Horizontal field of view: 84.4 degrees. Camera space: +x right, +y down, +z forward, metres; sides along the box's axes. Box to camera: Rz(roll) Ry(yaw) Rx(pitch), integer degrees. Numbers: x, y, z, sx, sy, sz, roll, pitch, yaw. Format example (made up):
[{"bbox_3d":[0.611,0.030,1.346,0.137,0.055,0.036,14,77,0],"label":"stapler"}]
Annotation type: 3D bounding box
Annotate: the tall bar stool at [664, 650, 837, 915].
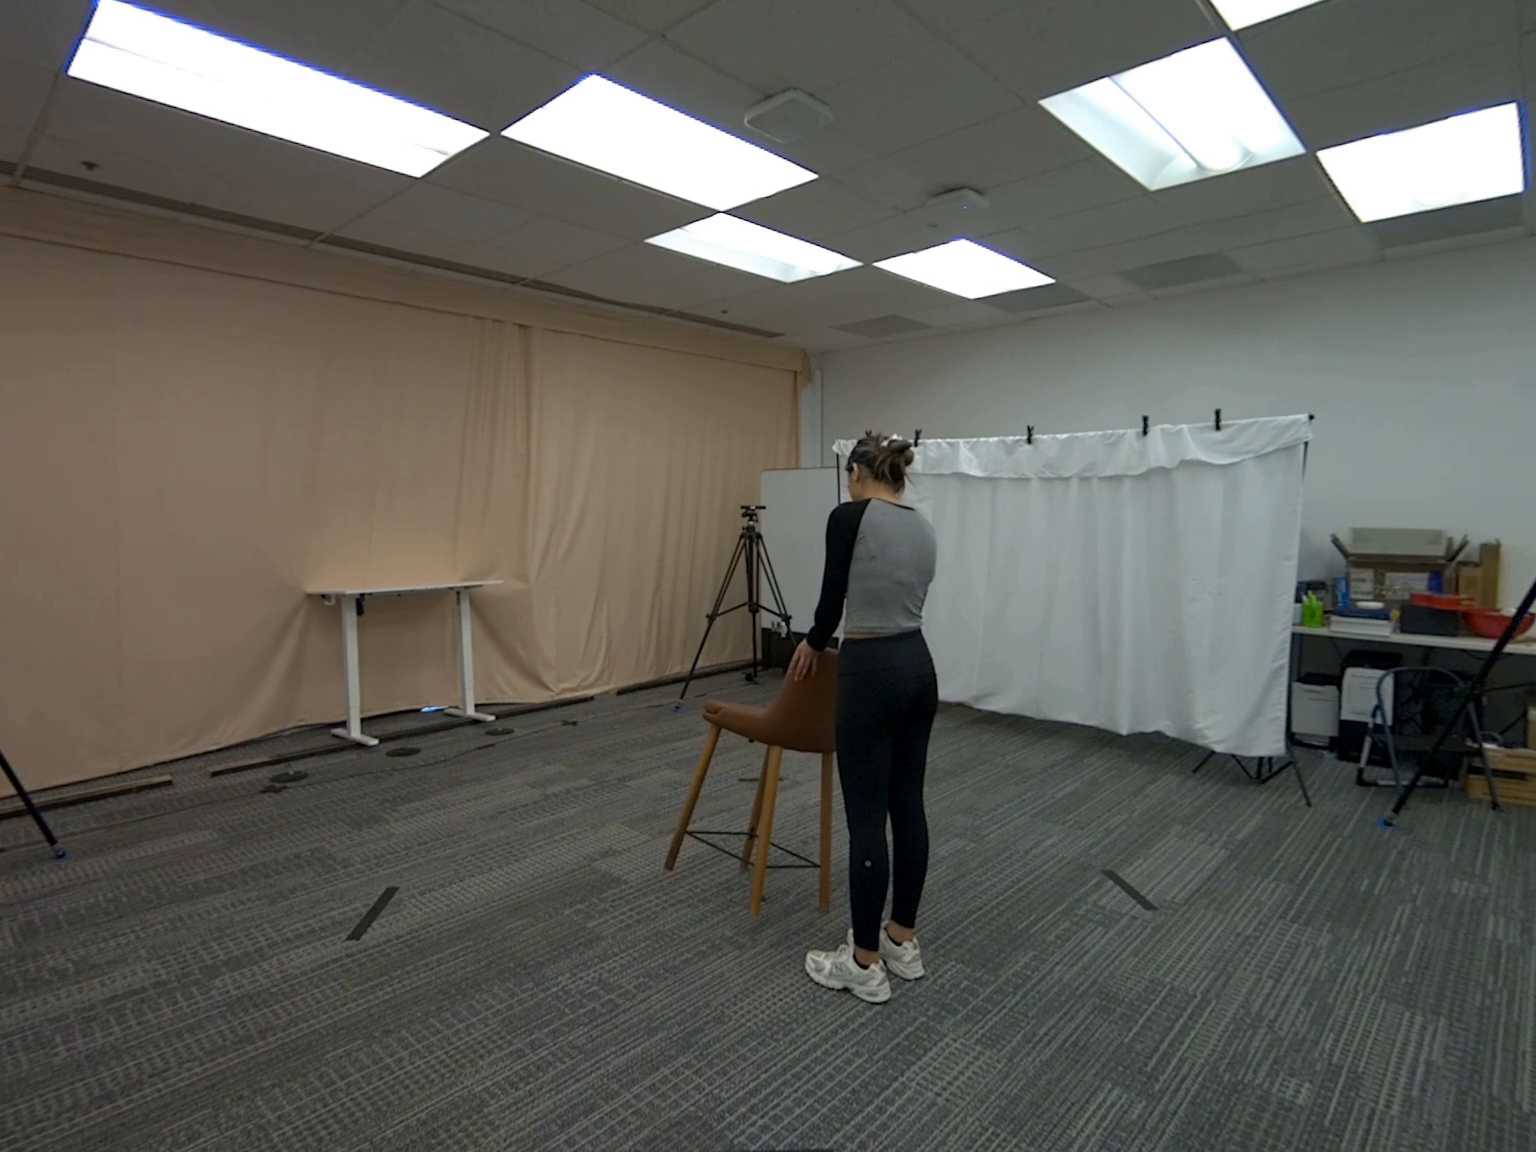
[{"bbox_3d":[0.024,0.672,2.982,0.440,0.891,0.484,18,-7,-43],"label":"tall bar stool"}]
